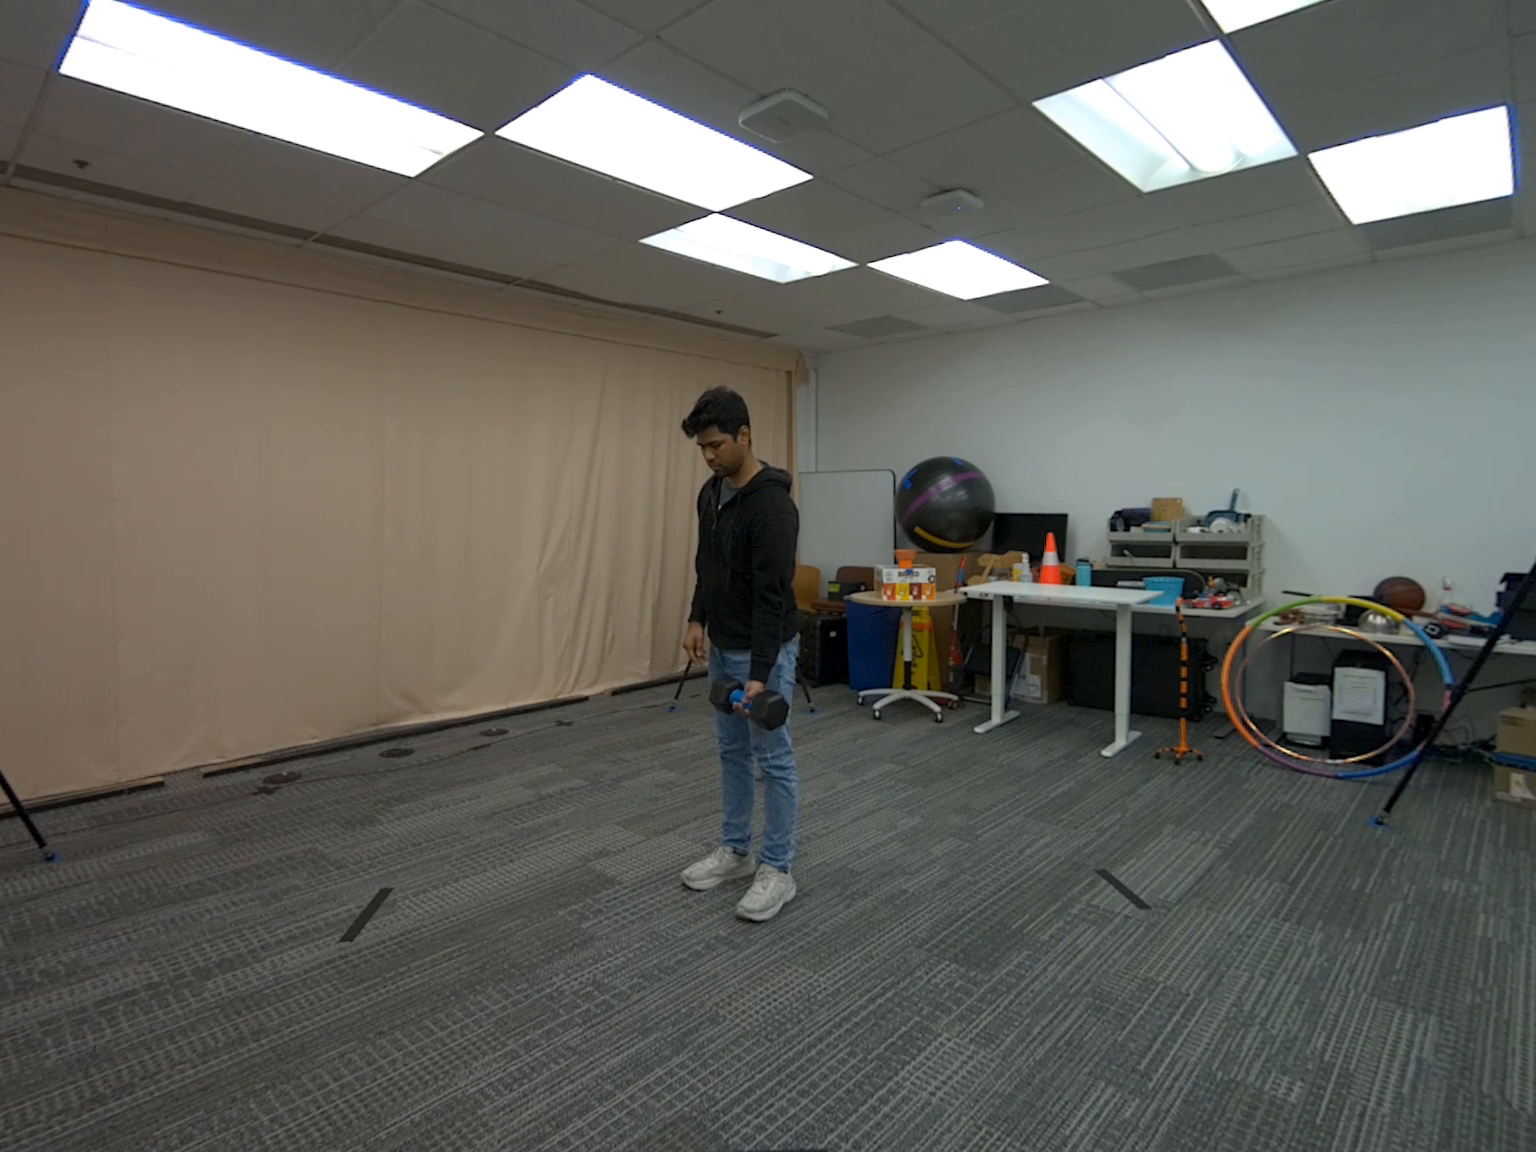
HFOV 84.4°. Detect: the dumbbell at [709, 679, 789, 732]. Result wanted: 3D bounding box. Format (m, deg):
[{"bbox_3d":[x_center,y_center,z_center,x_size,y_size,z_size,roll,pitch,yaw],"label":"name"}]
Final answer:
[{"bbox_3d":[-0.077,0.397,2.732,0.120,0.108,0.303,-18,16,-35],"label":"dumbbell"}]
